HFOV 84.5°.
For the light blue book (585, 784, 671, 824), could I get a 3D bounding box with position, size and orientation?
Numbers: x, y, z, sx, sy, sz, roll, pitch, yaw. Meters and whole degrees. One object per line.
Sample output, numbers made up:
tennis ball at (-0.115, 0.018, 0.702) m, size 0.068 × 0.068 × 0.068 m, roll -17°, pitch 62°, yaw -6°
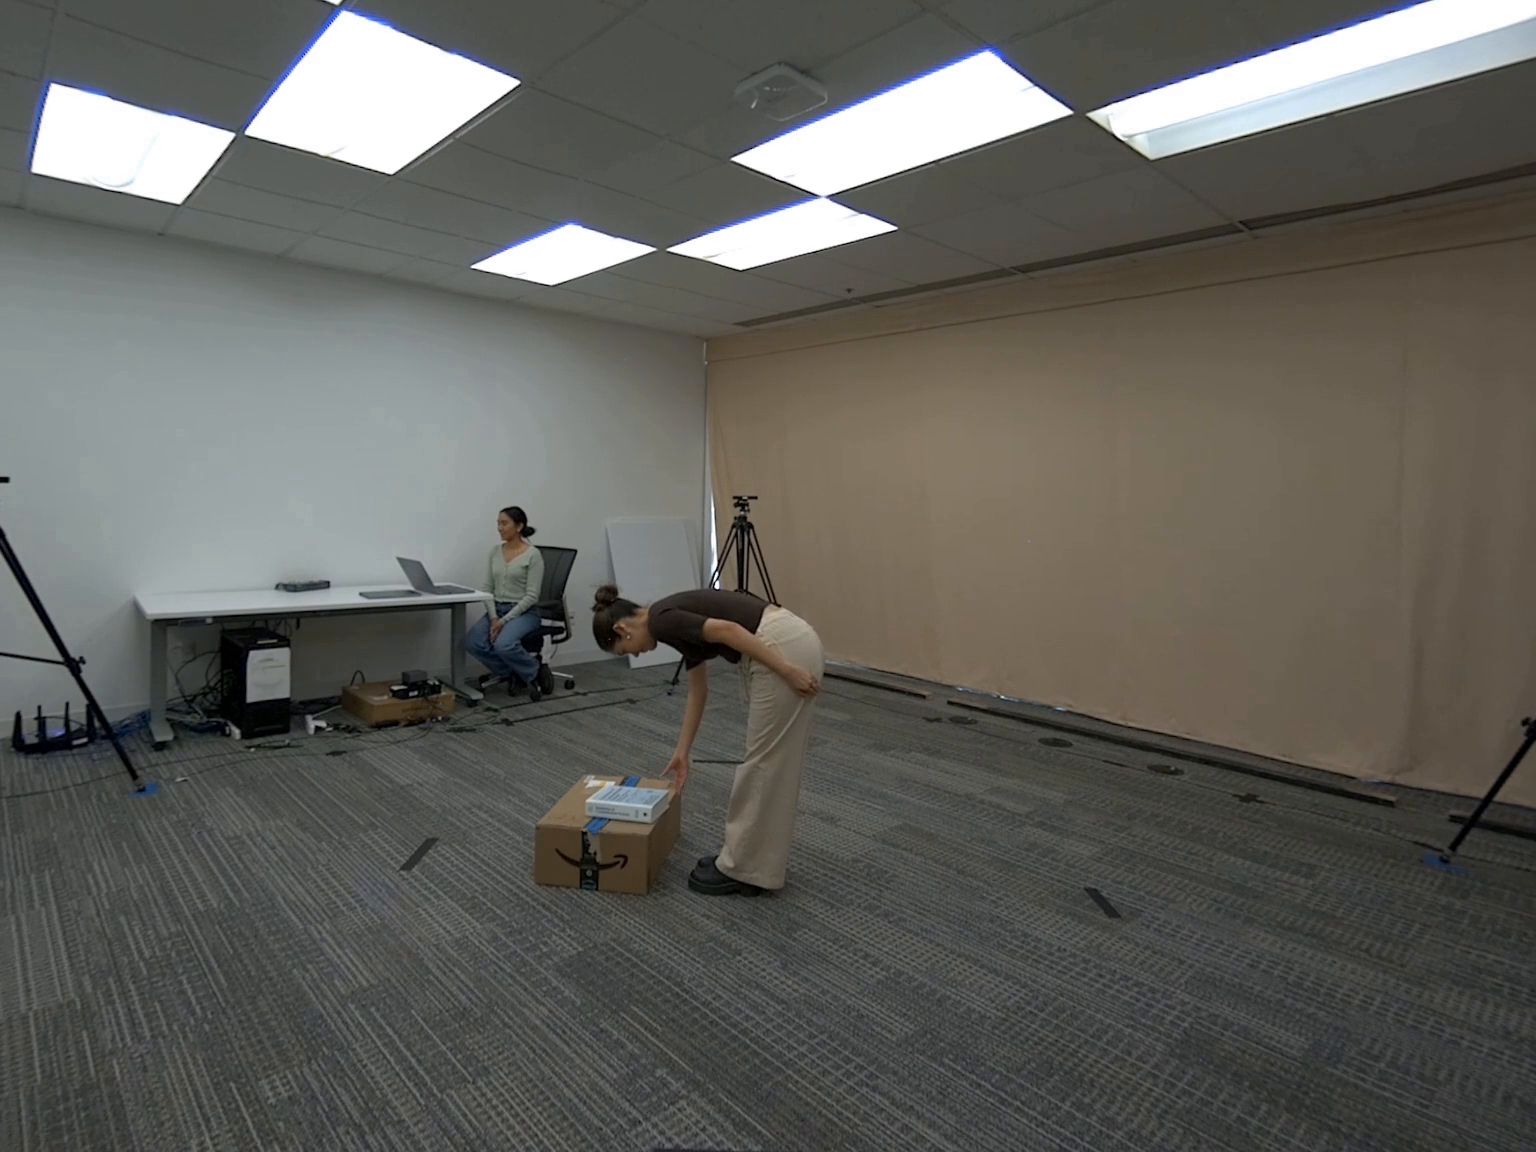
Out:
light blue book at (-0.524, 0.842, 3.151) m, size 0.264 × 0.059 × 0.189 m, roll 1°, pitch 4°, yaw 15°
